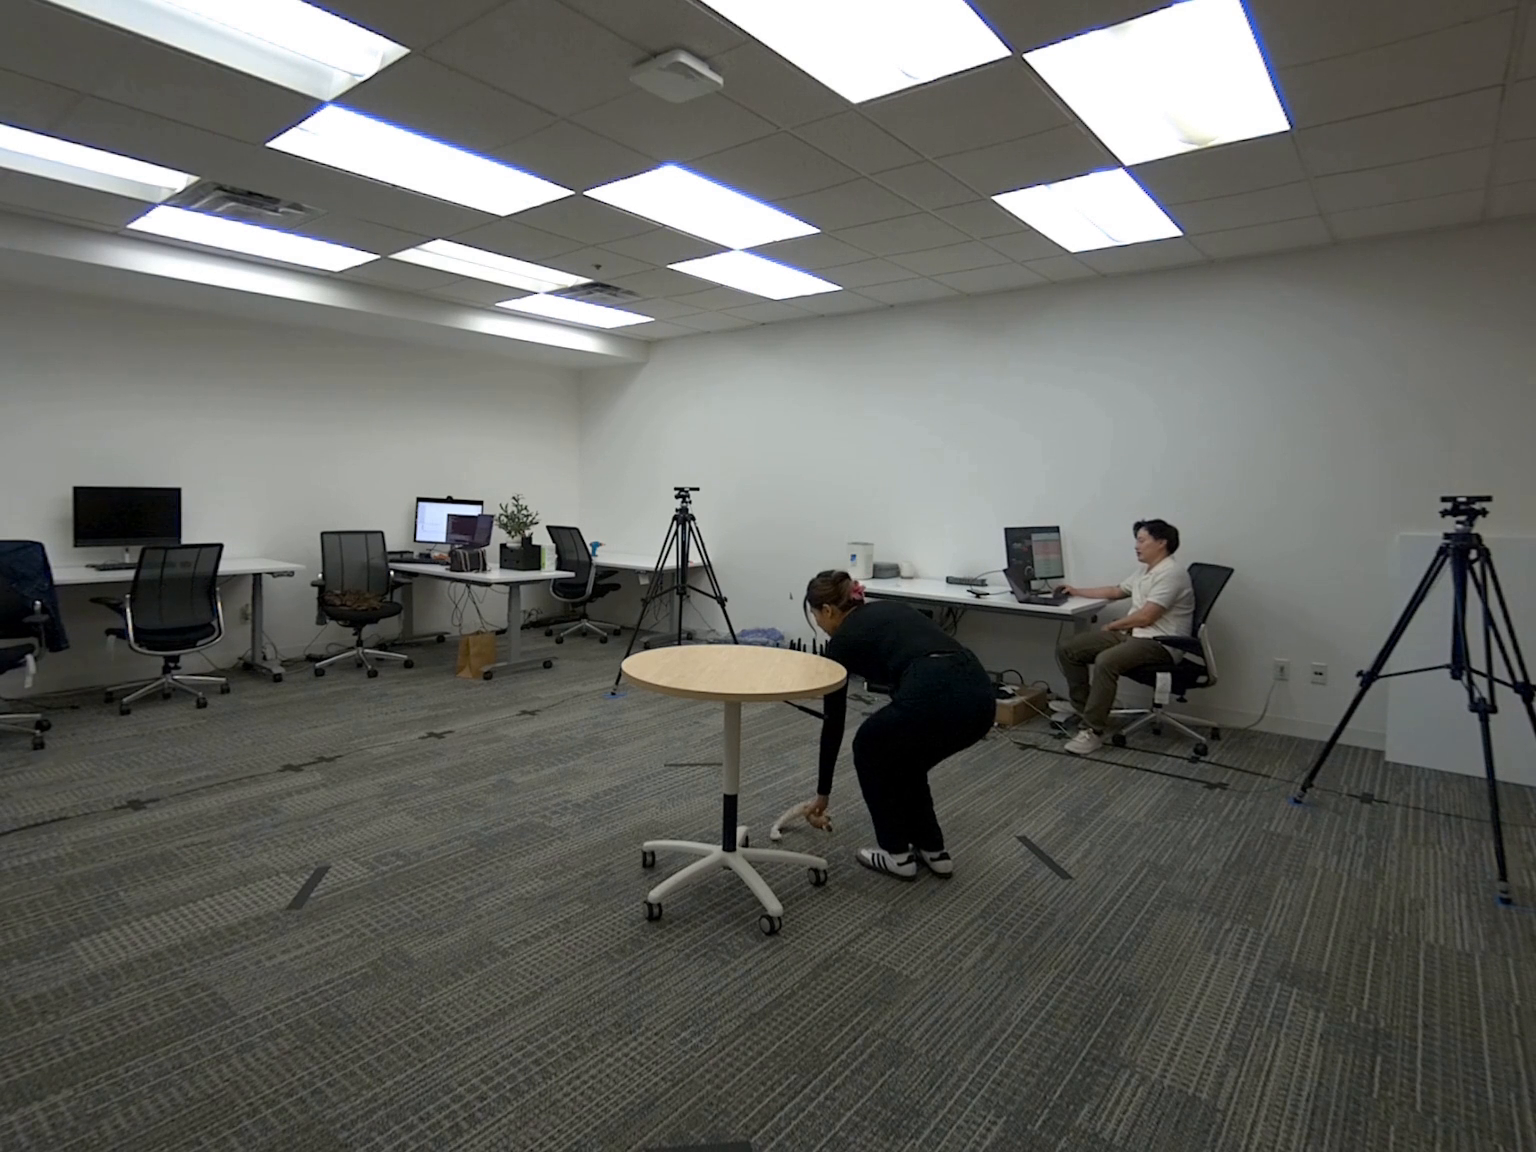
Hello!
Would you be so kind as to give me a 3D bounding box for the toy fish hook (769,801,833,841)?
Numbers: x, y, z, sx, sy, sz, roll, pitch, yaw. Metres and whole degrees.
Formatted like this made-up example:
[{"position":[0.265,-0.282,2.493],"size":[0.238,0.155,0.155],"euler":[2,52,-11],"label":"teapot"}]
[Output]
[{"position":[0.117,0.957,3.293],"size":[0.224,0.048,0.509],"euler":[-41,4,-13],"label":"toy fish hook"}]
